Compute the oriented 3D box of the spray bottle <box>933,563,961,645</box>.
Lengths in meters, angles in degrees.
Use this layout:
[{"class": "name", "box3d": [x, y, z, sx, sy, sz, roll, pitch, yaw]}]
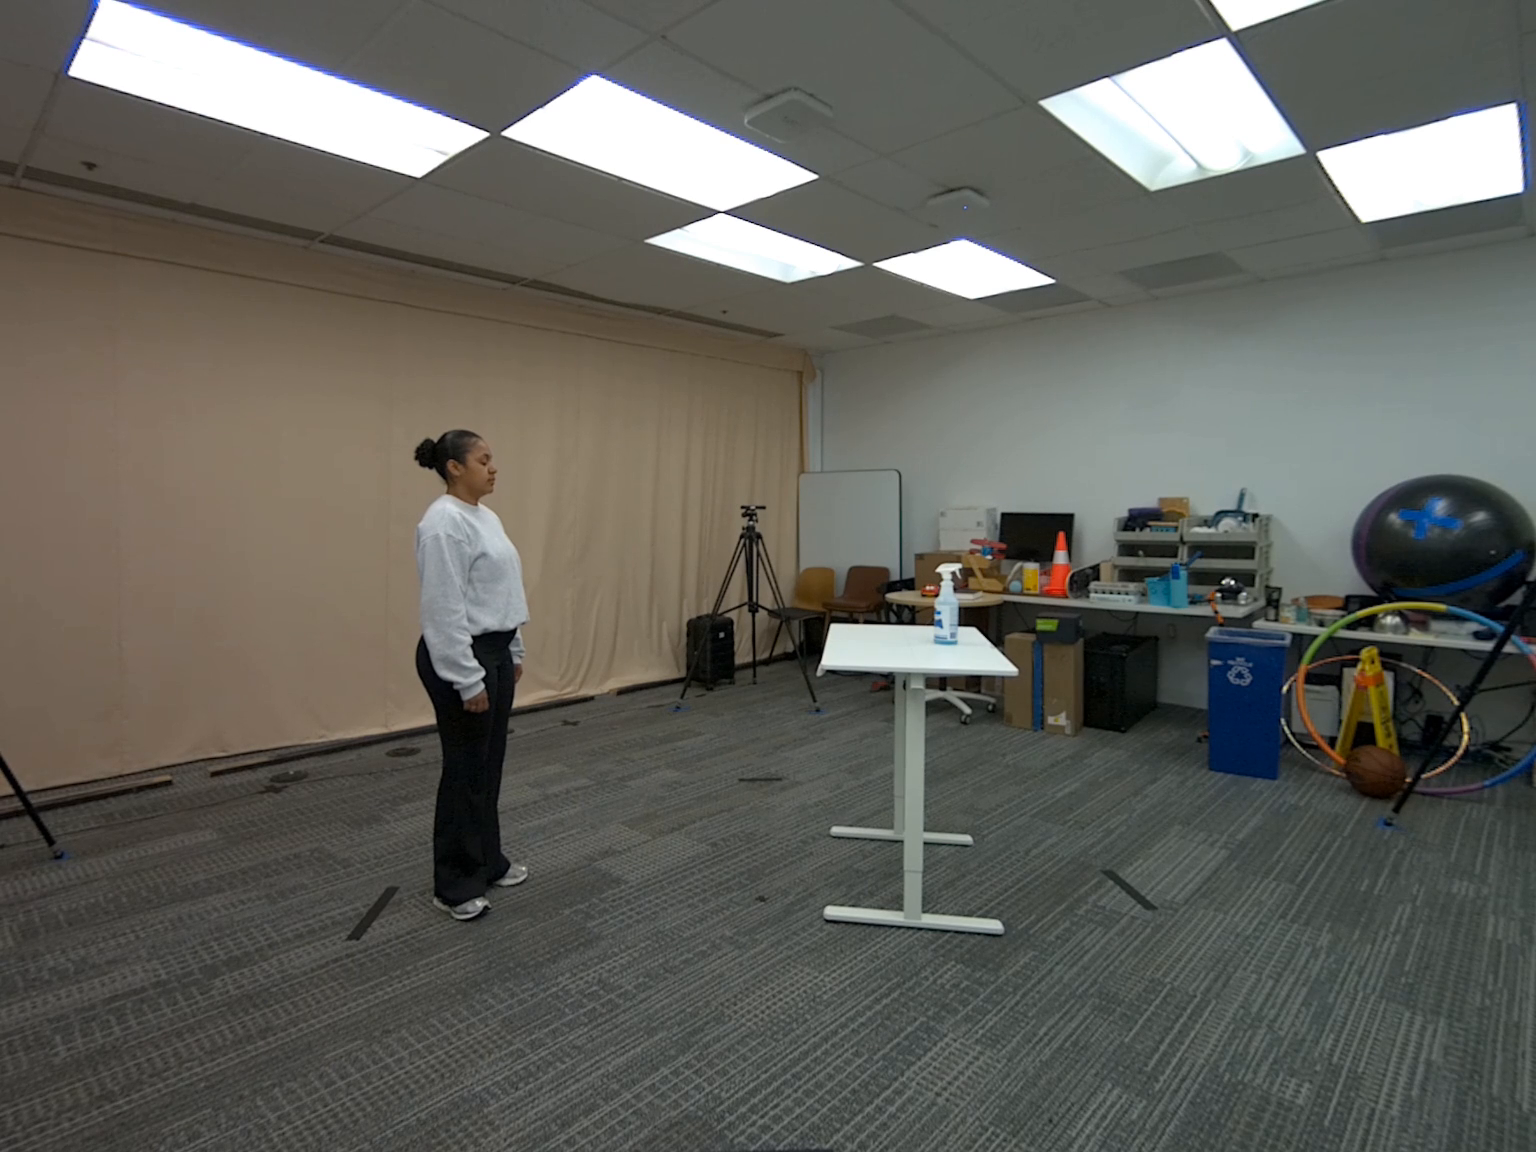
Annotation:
[{"class": "spray bottle", "box3d": [0.670, 0.106, 3.103, 0.093, 0.296, 0.084, 6, 5, 37]}]
